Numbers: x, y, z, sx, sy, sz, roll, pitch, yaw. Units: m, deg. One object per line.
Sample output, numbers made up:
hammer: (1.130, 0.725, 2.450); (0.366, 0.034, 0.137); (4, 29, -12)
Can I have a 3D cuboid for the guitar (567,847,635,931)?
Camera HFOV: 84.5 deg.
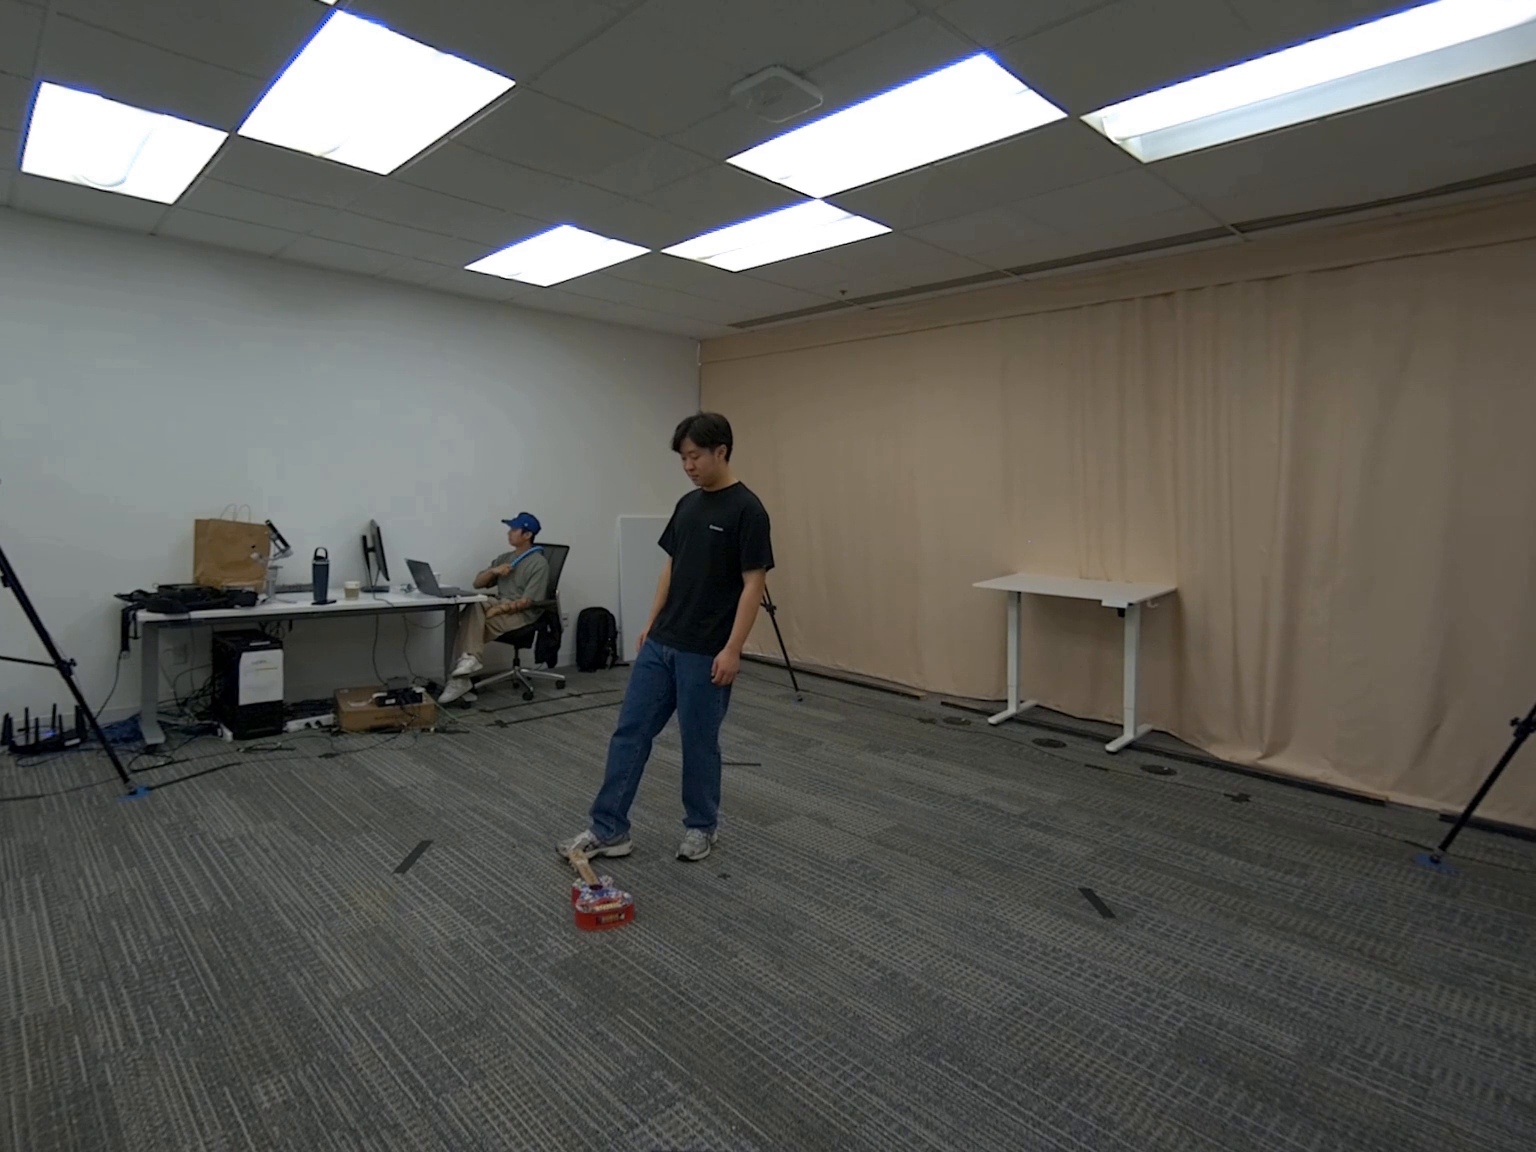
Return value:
guitar: (-0.600, 1.079, 2.938); (0.190, 0.070, 0.506); (-1, 6, -17)
